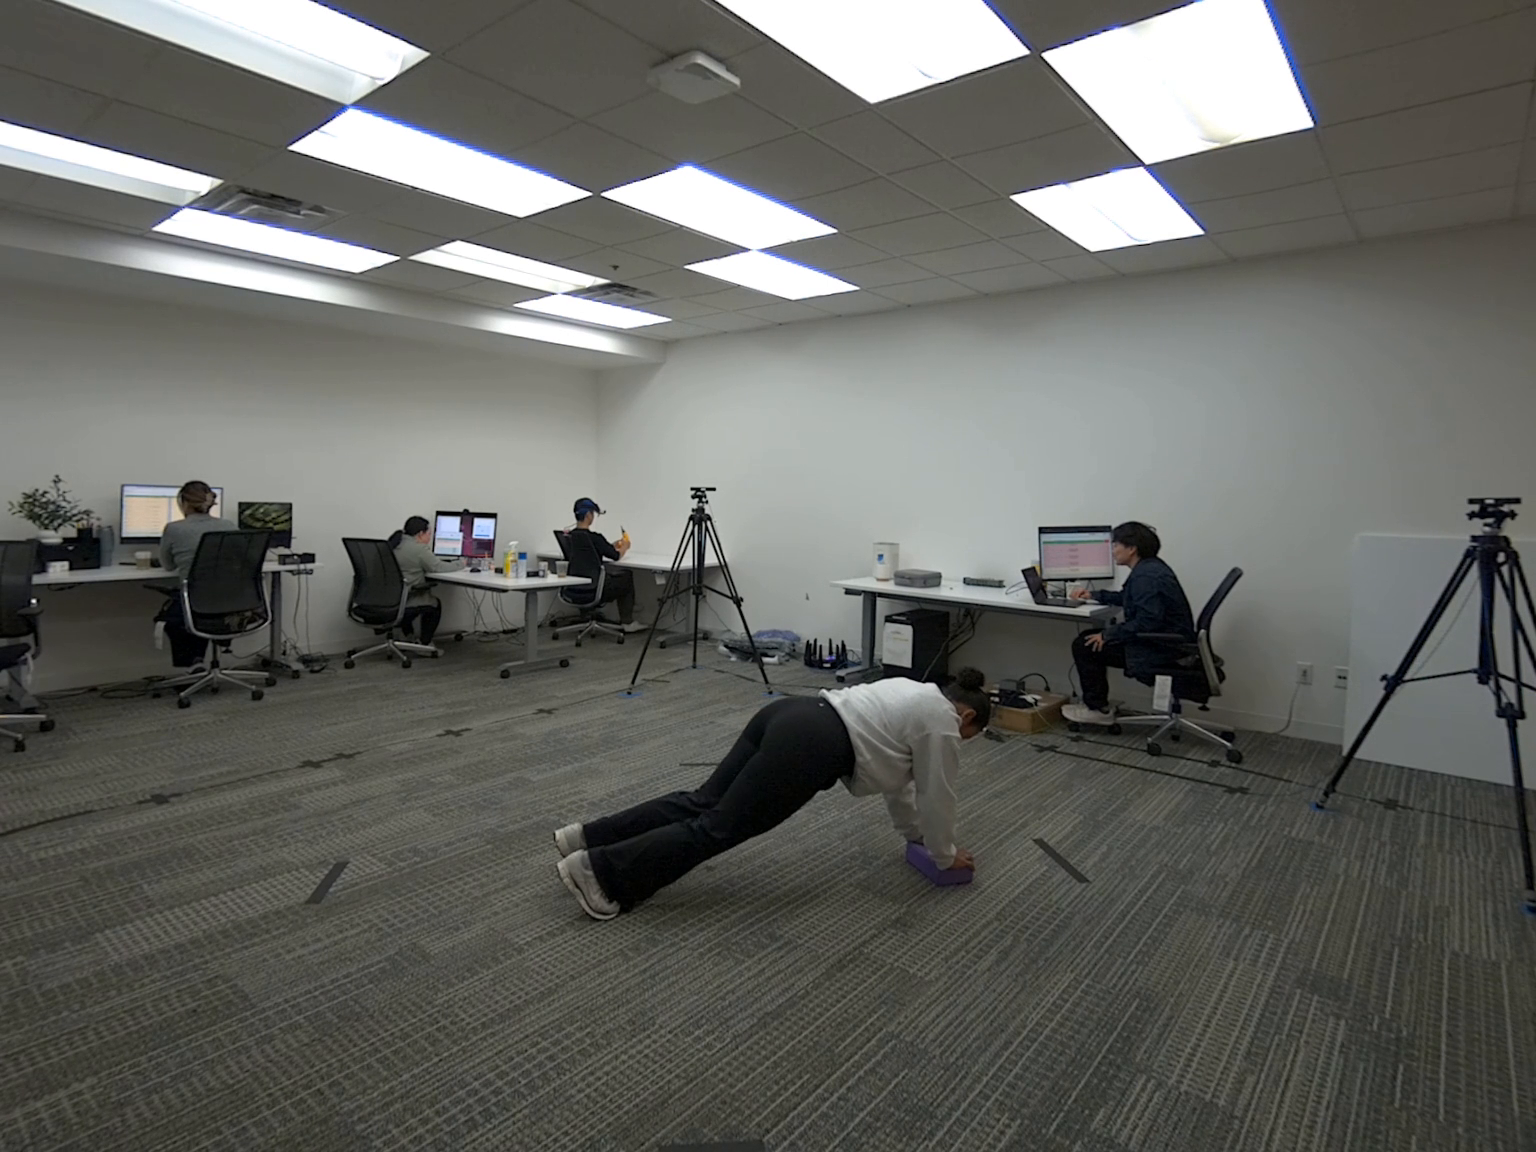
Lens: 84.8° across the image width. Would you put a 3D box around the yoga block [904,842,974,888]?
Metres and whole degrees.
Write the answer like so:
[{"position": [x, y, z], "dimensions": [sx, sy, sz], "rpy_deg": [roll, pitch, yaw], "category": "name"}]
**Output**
[{"position": [0.625, 1.056, 3.138], "dimensions": [0.146, 0.076, 0.235], "rpy_deg": [-1, 6, -20], "category": "yoga block"}]
